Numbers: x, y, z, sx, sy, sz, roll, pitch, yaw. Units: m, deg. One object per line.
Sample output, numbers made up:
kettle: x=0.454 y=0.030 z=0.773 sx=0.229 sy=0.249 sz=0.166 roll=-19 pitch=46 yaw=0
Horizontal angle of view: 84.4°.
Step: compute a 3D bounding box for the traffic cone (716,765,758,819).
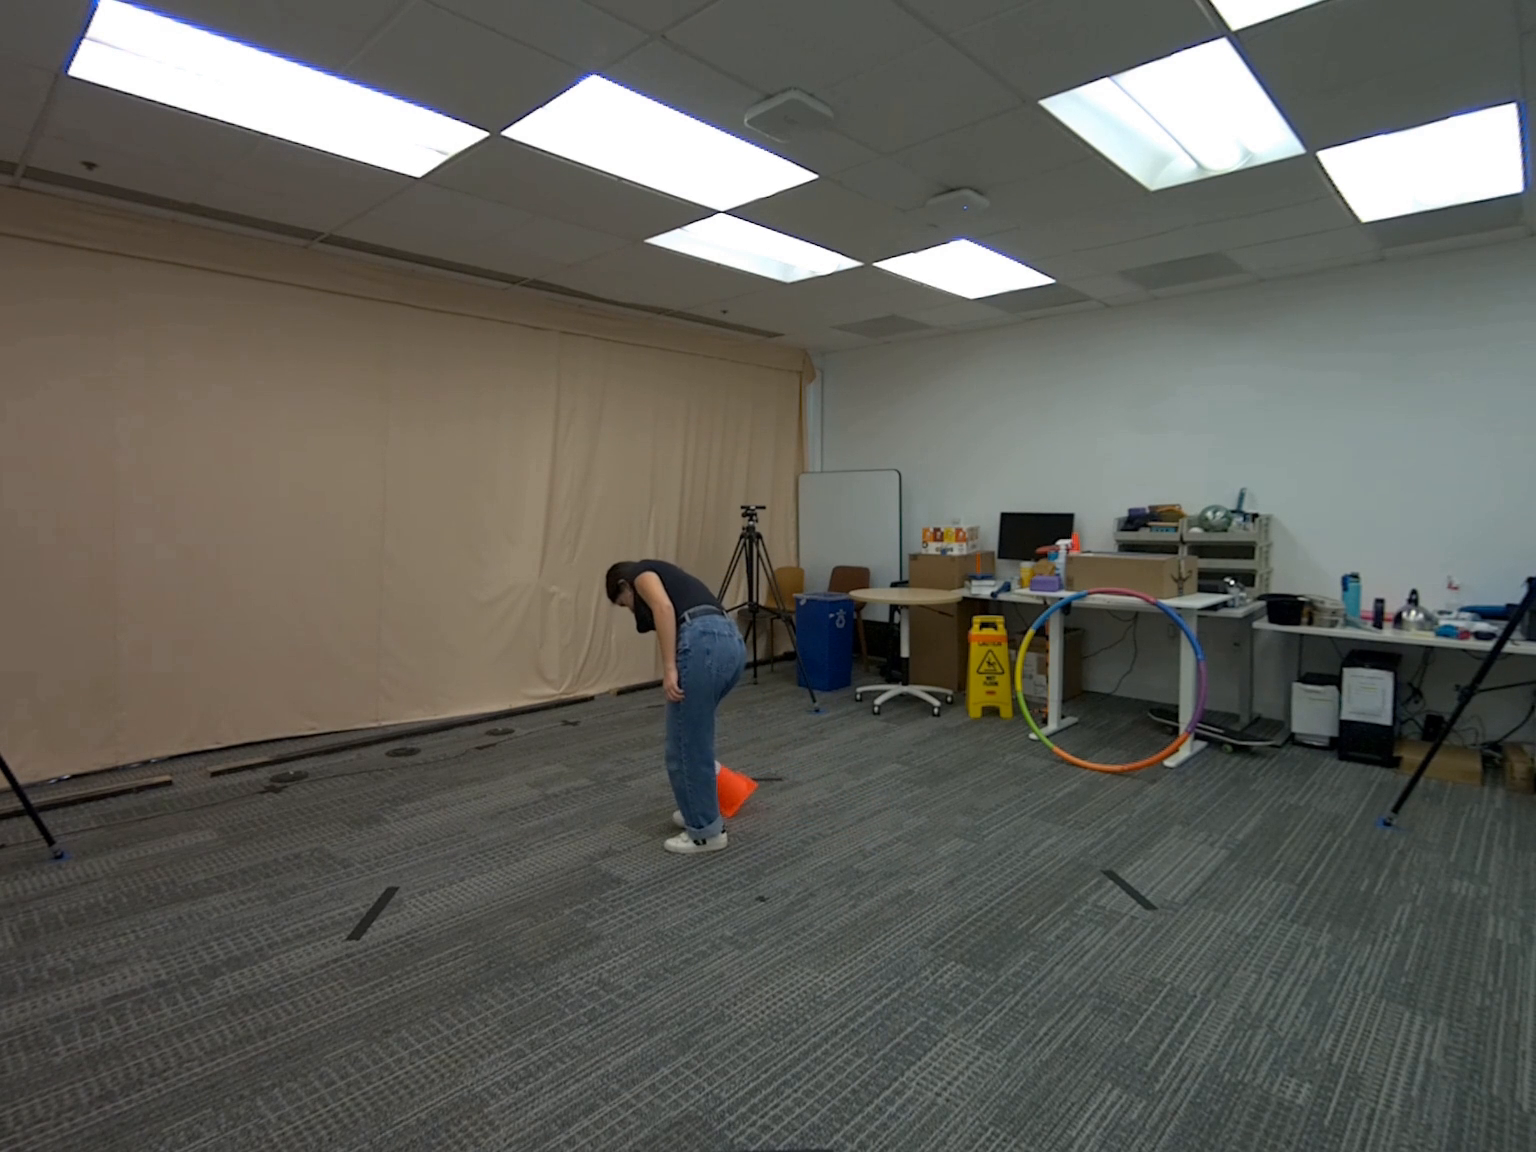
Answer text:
traffic cone: x=-0.256 y=0.874 z=3.813 sx=0.204 sy=0.376 sz=0.208 roll=-50 pitch=21 yaw=-26
